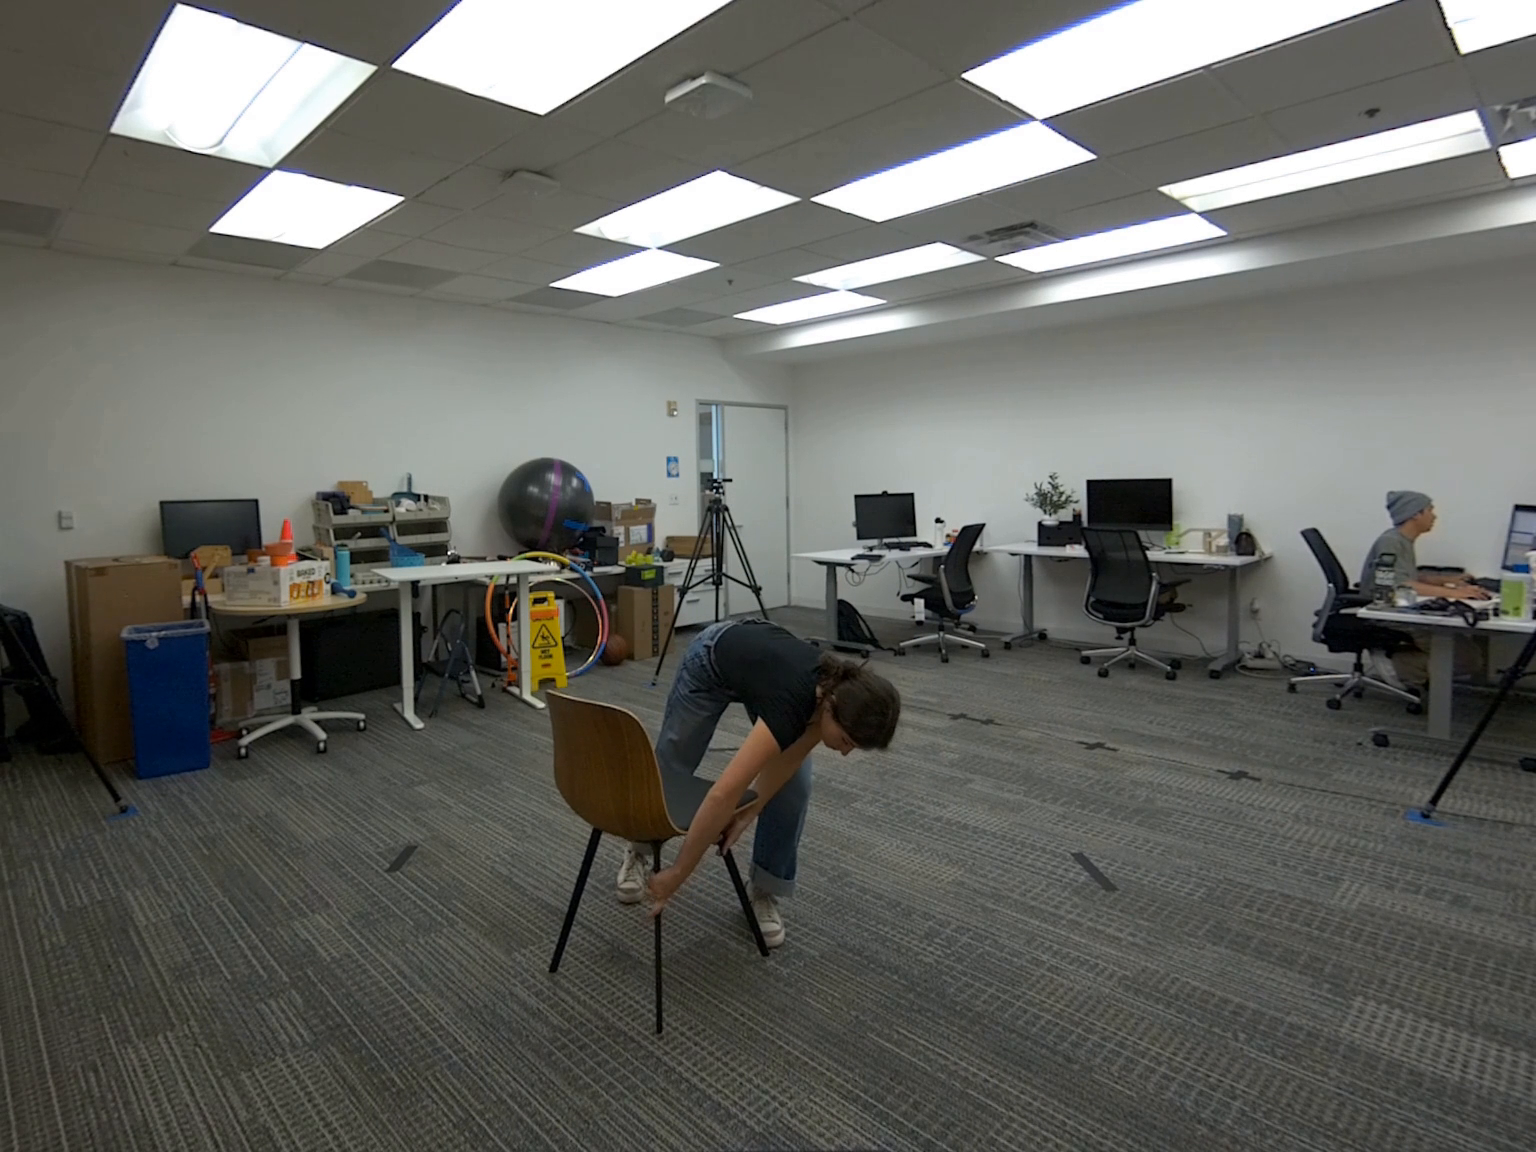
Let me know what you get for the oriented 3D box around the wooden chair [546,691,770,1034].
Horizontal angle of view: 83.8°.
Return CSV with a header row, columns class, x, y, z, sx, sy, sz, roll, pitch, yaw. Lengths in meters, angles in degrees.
class,x,y,z,sx,sy,sz,roll,pitch,yaw
wooden chair,-0.317,0.691,2.444,0.492,0.872,0.512,0,9,39
